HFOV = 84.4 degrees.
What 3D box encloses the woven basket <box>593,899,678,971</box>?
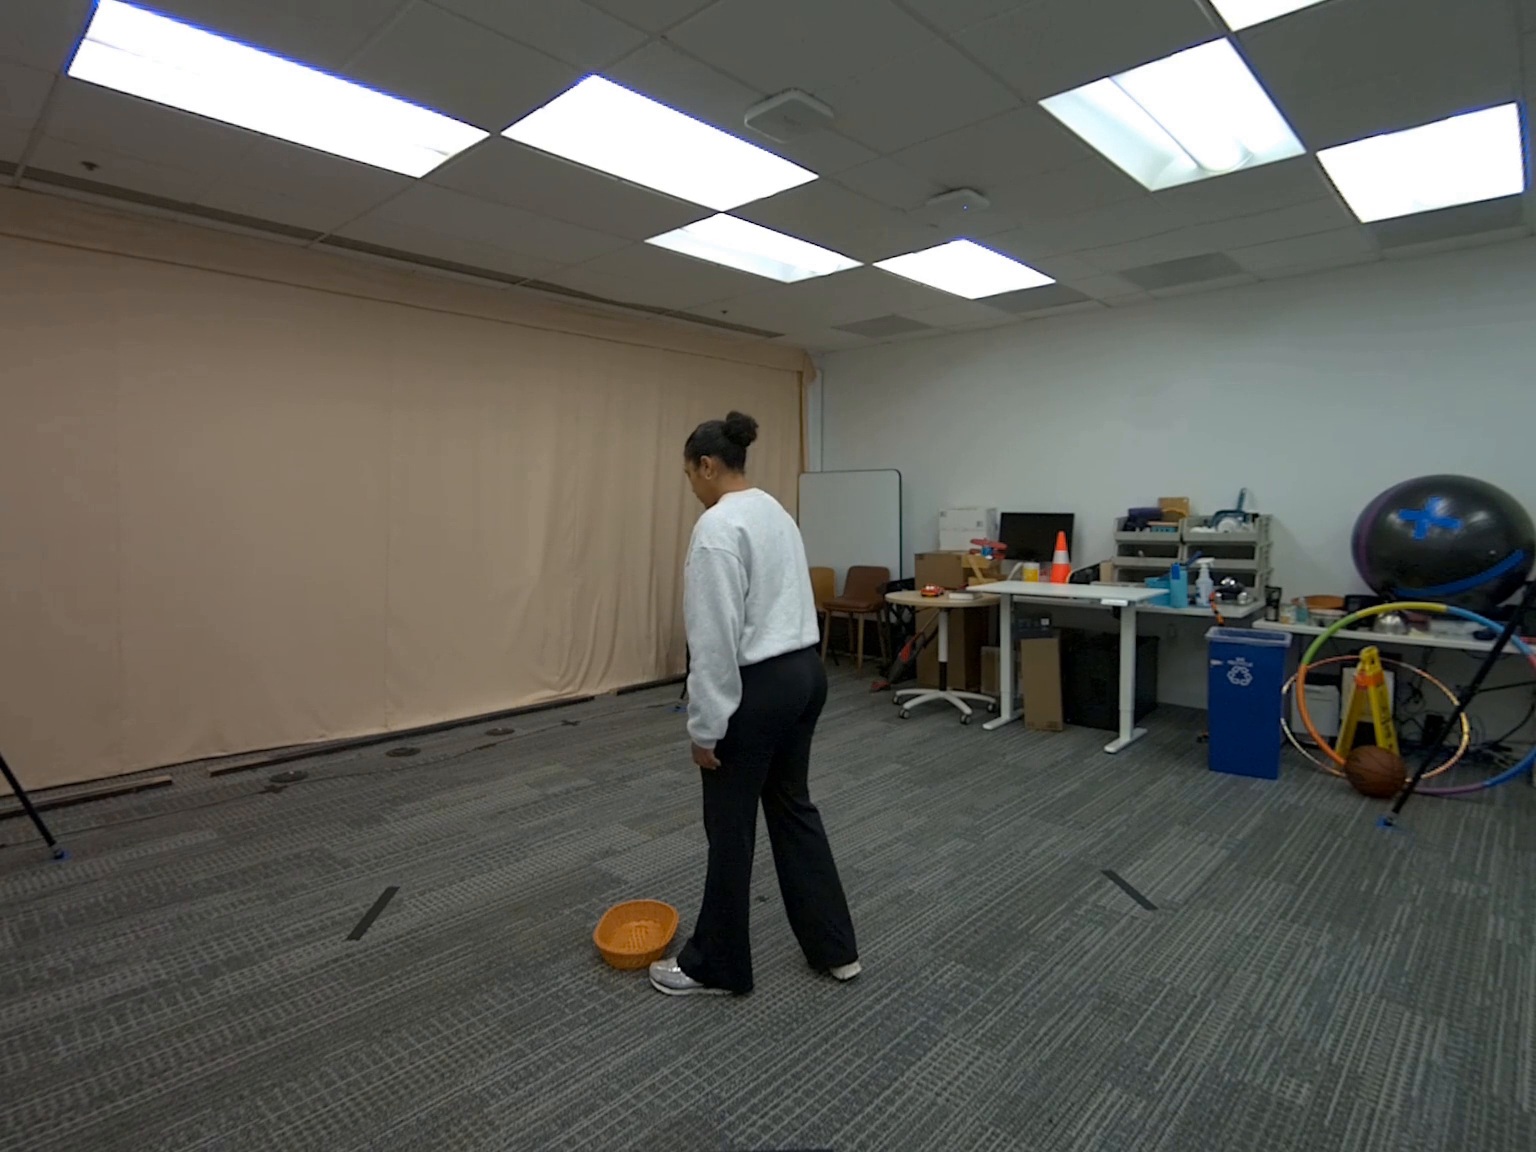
[{"bbox_3d":[-0.414,1.136,2.665,0.256,0.073,0.346,1,4,11],"label":"woven basket"}]
